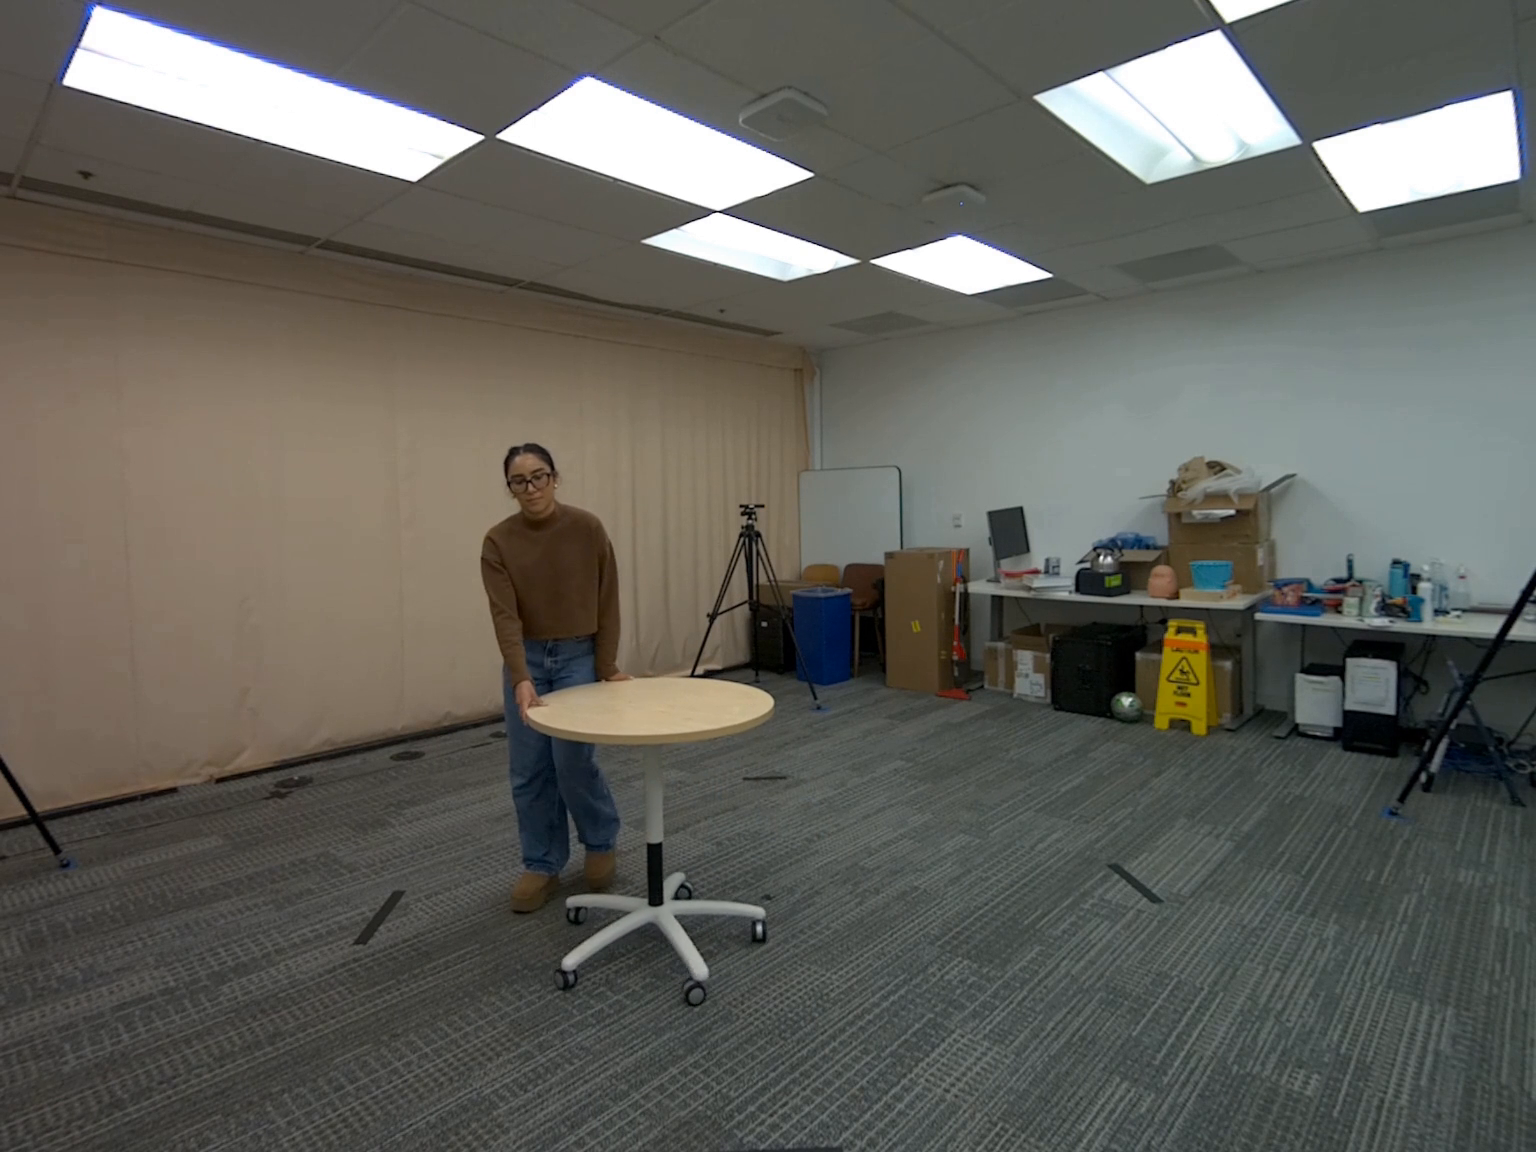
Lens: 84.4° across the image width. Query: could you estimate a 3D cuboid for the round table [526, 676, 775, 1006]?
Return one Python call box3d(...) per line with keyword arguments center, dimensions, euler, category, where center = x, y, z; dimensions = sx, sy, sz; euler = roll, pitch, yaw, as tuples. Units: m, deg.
box3d(center=(-0.345, 0.781, 2.655), dimensions=(0.784, 0.785, 0.788), euler=(-1, 4, -2), category="round table")
